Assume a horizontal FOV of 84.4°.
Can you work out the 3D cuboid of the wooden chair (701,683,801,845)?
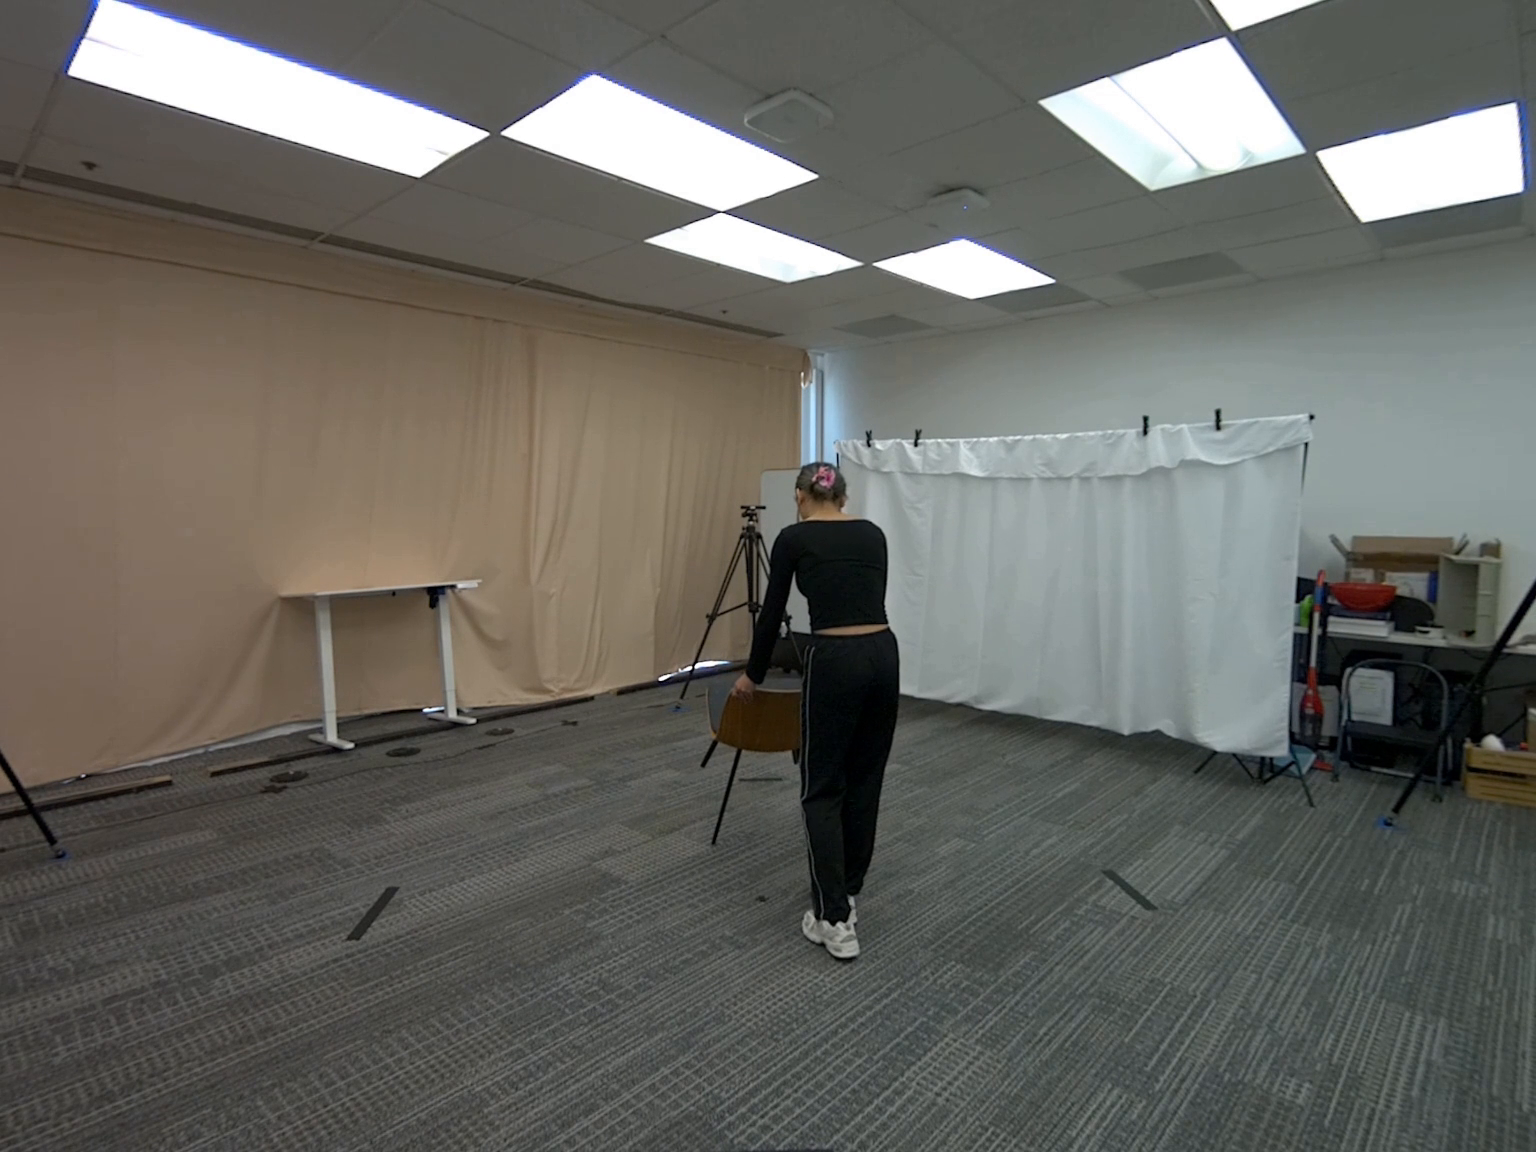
[{"bbox_3d":[-0.012,0.613,3.473,0.474,0.864,0.536,-1,35,-10],"label":"wooden chair"}]
